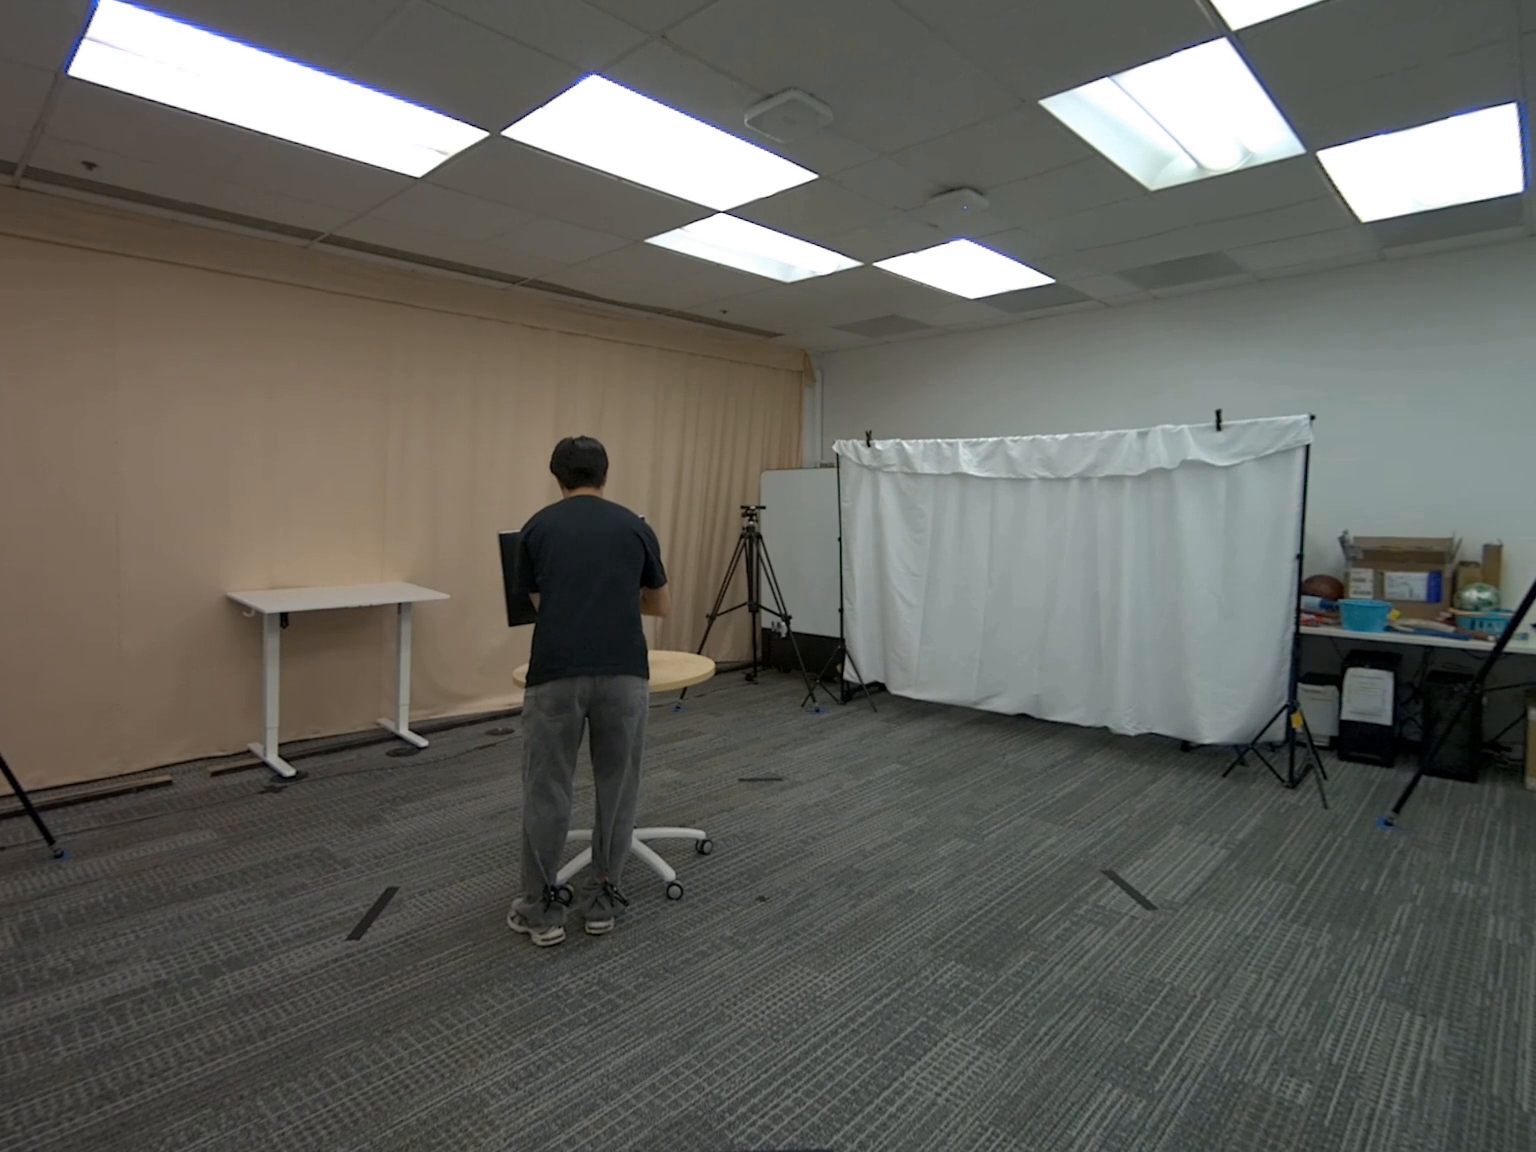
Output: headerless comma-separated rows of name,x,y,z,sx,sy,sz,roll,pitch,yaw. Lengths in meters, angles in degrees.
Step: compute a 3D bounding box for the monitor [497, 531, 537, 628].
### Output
monitor,-0.704,0.080,3.171,0.553,0.567,0.225,-7,-3,-15
